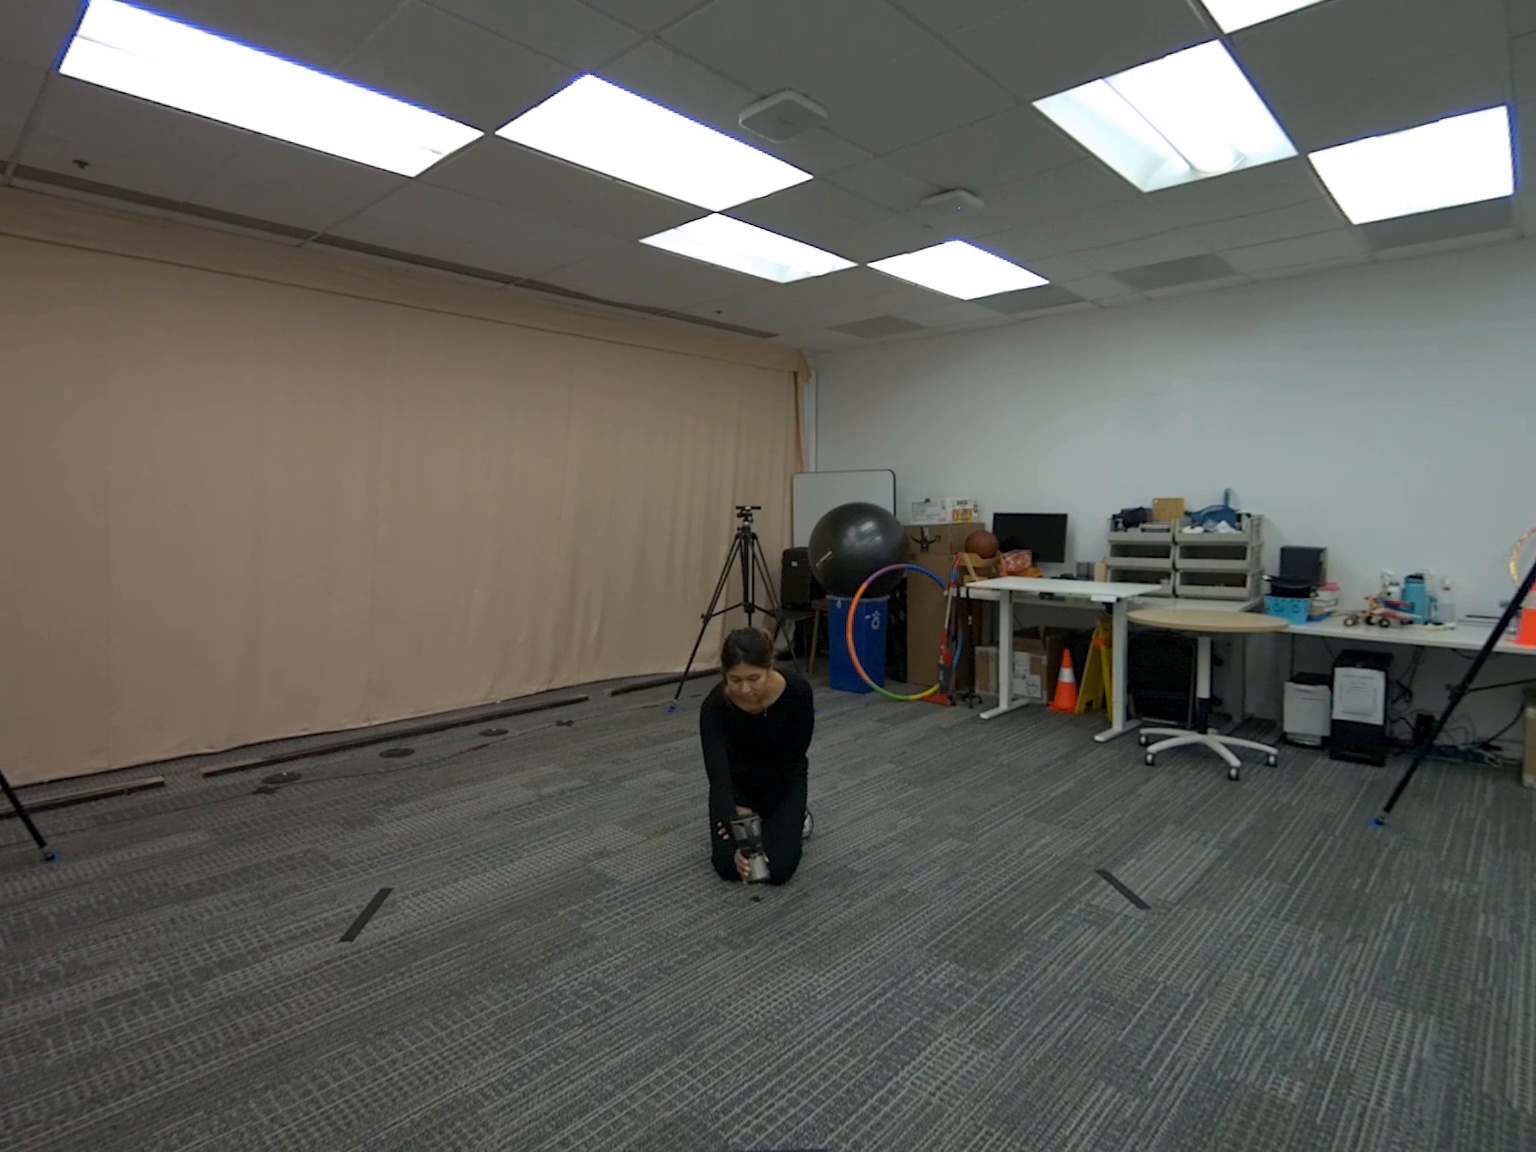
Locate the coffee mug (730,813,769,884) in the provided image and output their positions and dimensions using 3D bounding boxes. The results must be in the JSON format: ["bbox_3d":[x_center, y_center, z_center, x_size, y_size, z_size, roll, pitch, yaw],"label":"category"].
[{"bbox_3d":[-0.070,0.846,2.590,0.089,0.205,0.119,-14,-15,17],"label":"coffee mug"}]
